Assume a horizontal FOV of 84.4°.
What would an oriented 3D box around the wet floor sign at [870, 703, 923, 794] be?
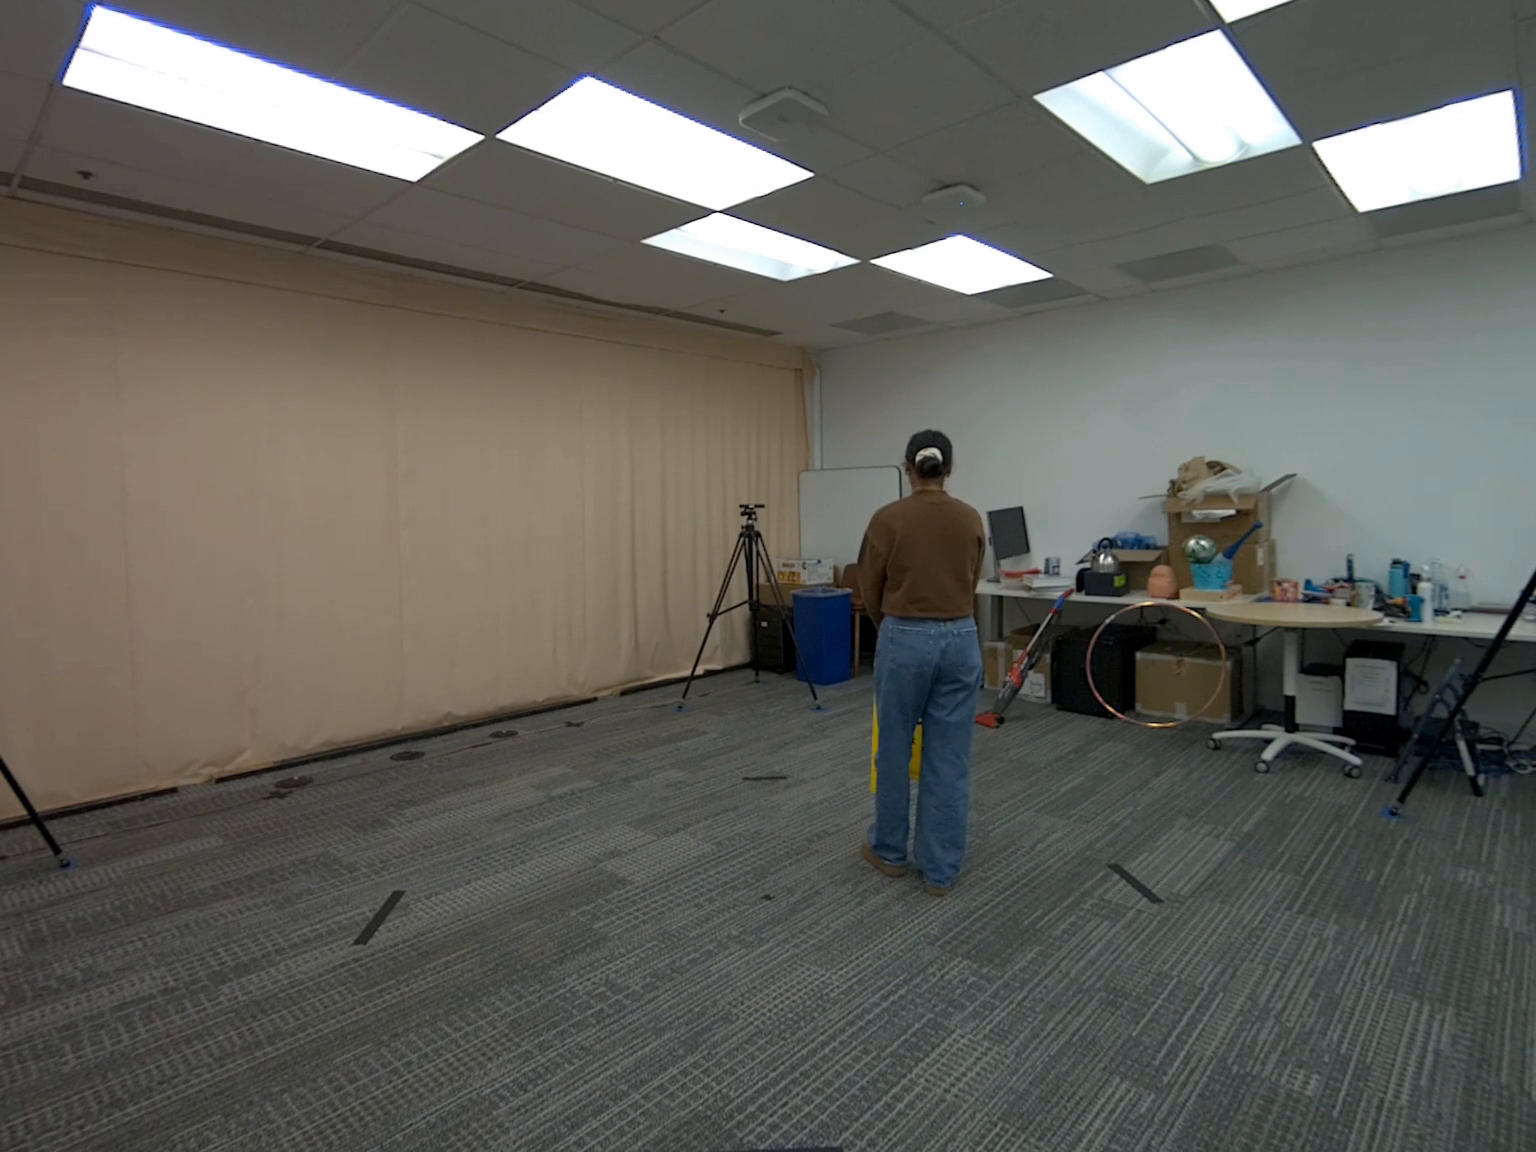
[{"bbox_3d":[0.577,0.534,3.416,0.290,0.645,0.282,-2,2,31],"label":"wet floor sign"}]
